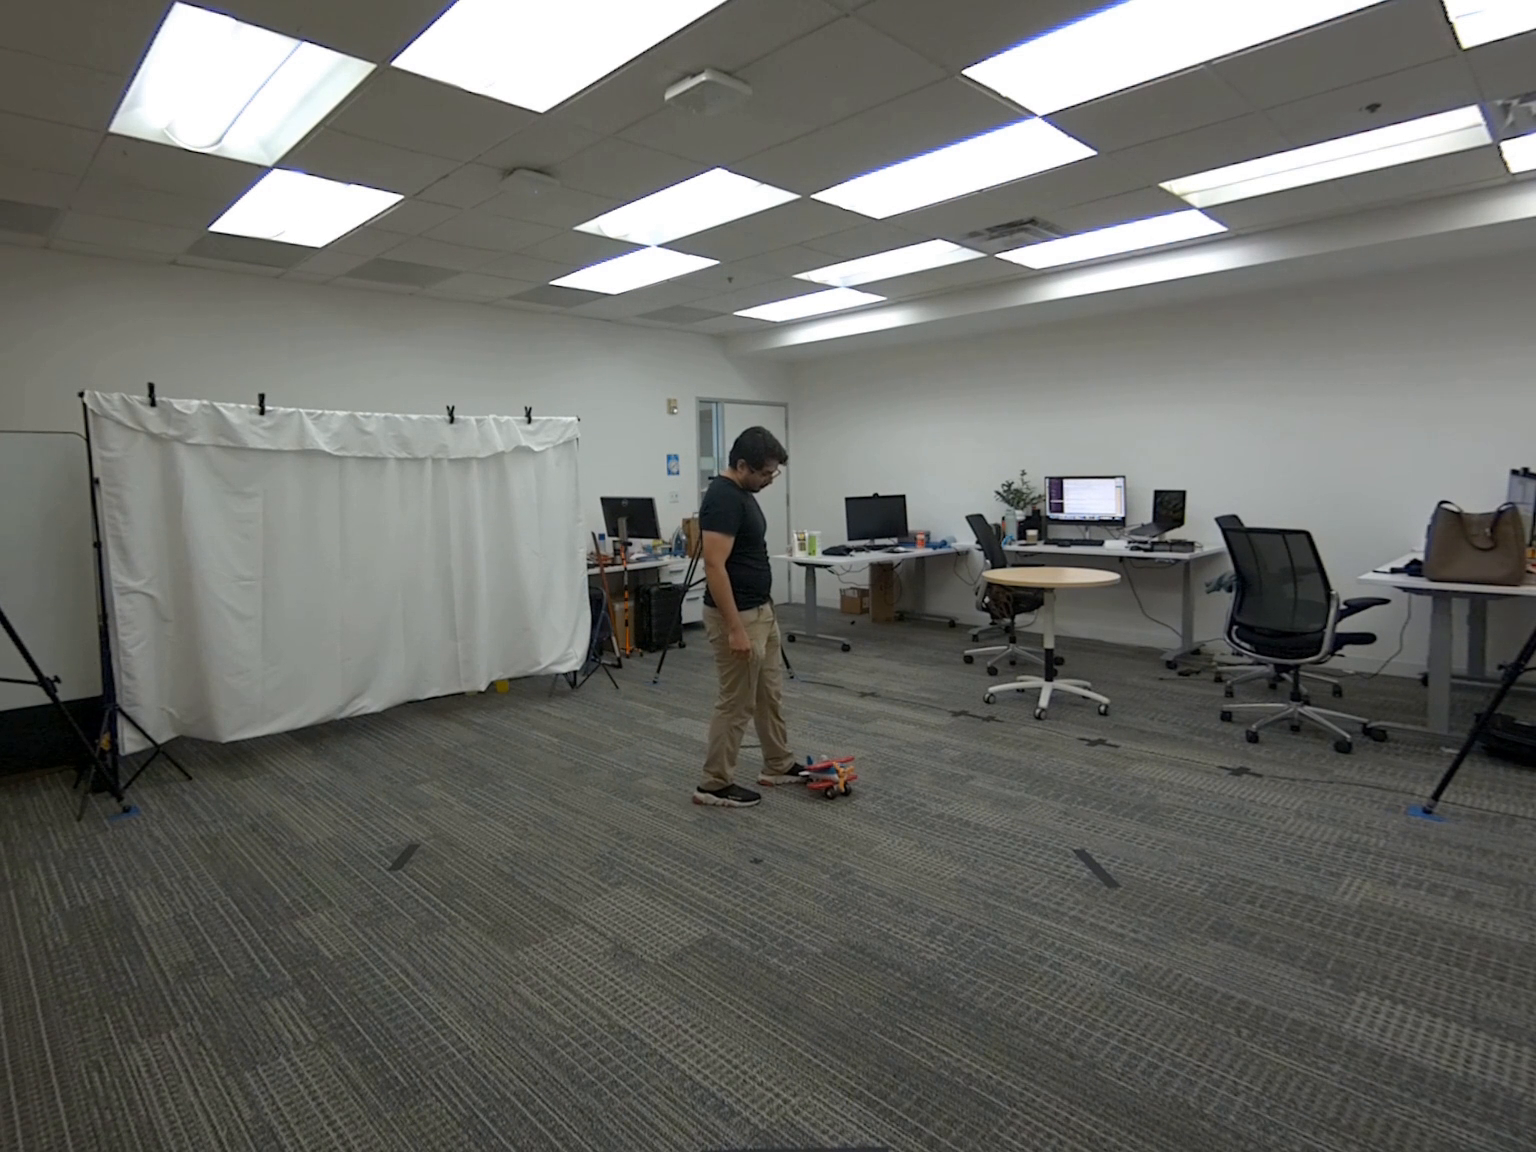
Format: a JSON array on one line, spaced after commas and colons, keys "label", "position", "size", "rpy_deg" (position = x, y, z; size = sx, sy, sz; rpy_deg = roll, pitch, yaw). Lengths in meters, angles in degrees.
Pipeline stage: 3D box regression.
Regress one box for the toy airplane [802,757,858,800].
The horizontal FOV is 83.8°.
[{"label": "toy airplane", "position": [0.244, 0.879, 3.767], "size": [0.266, 0.156, 0.246], "rpy_deg": [3, 6, 28]}]
